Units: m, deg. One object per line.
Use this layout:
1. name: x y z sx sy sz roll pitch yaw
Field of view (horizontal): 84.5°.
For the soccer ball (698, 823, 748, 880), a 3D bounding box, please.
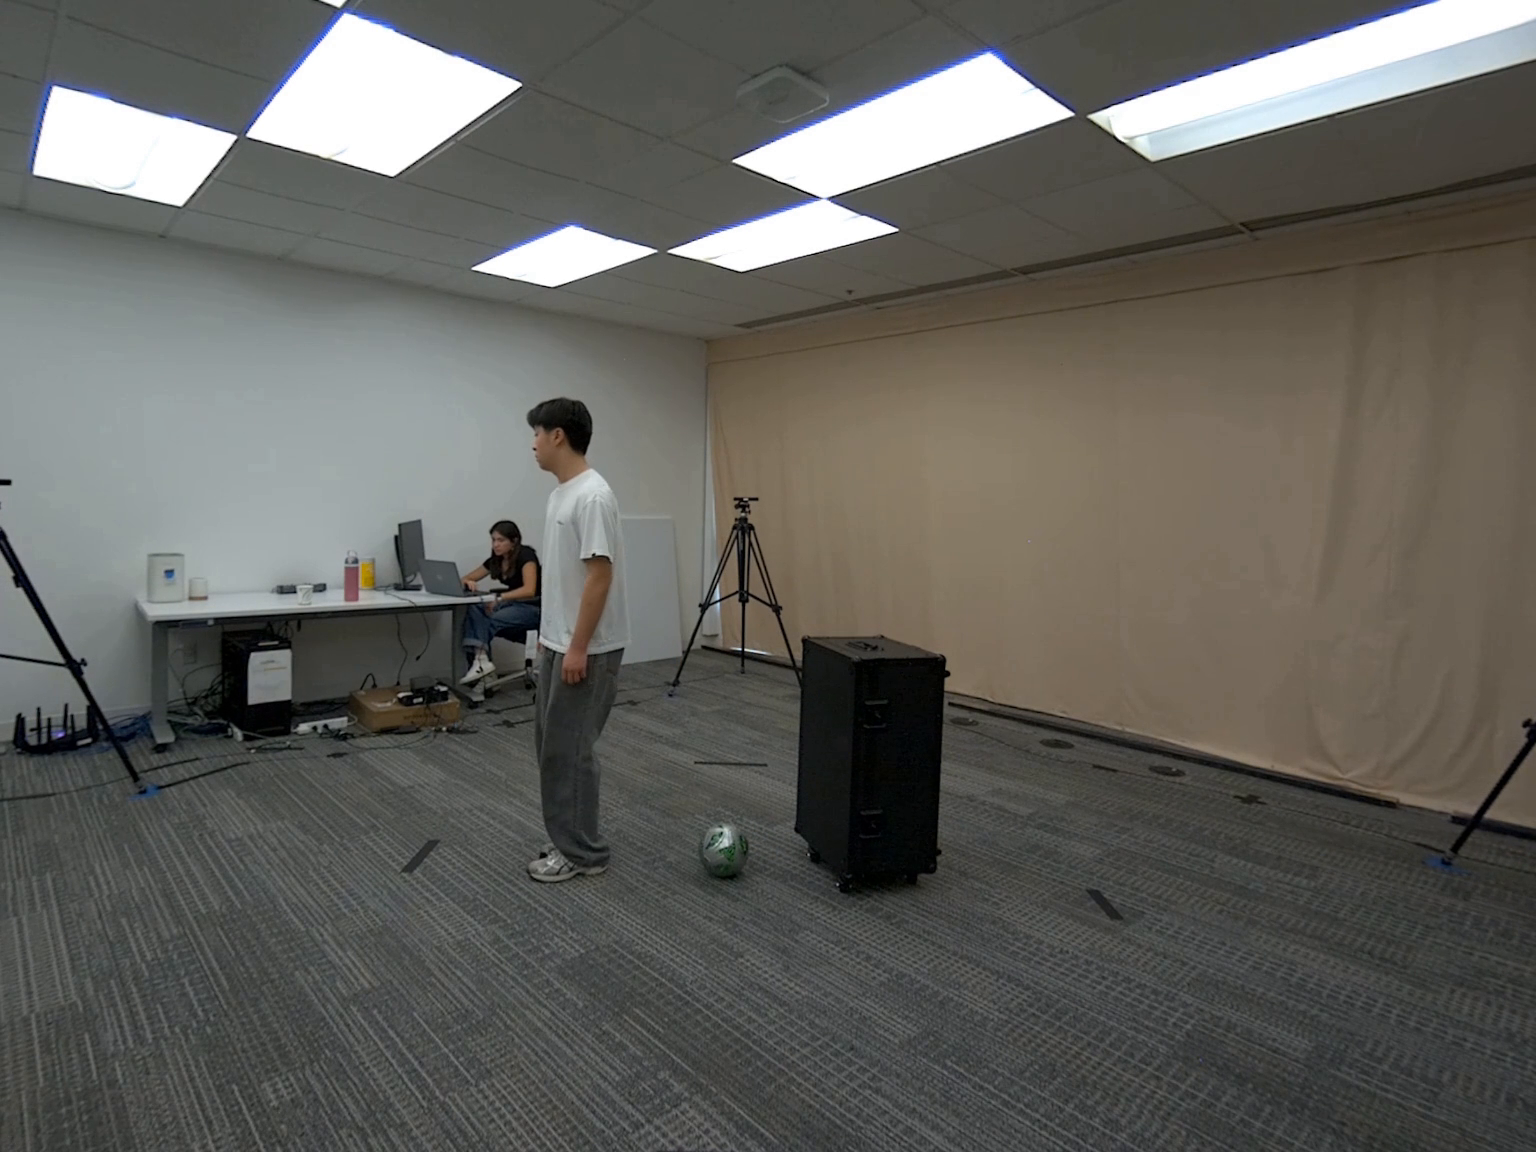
1. soccer ball: -0.167 1.008 3.110 0.187 0.187 0.188 1 4 -1
